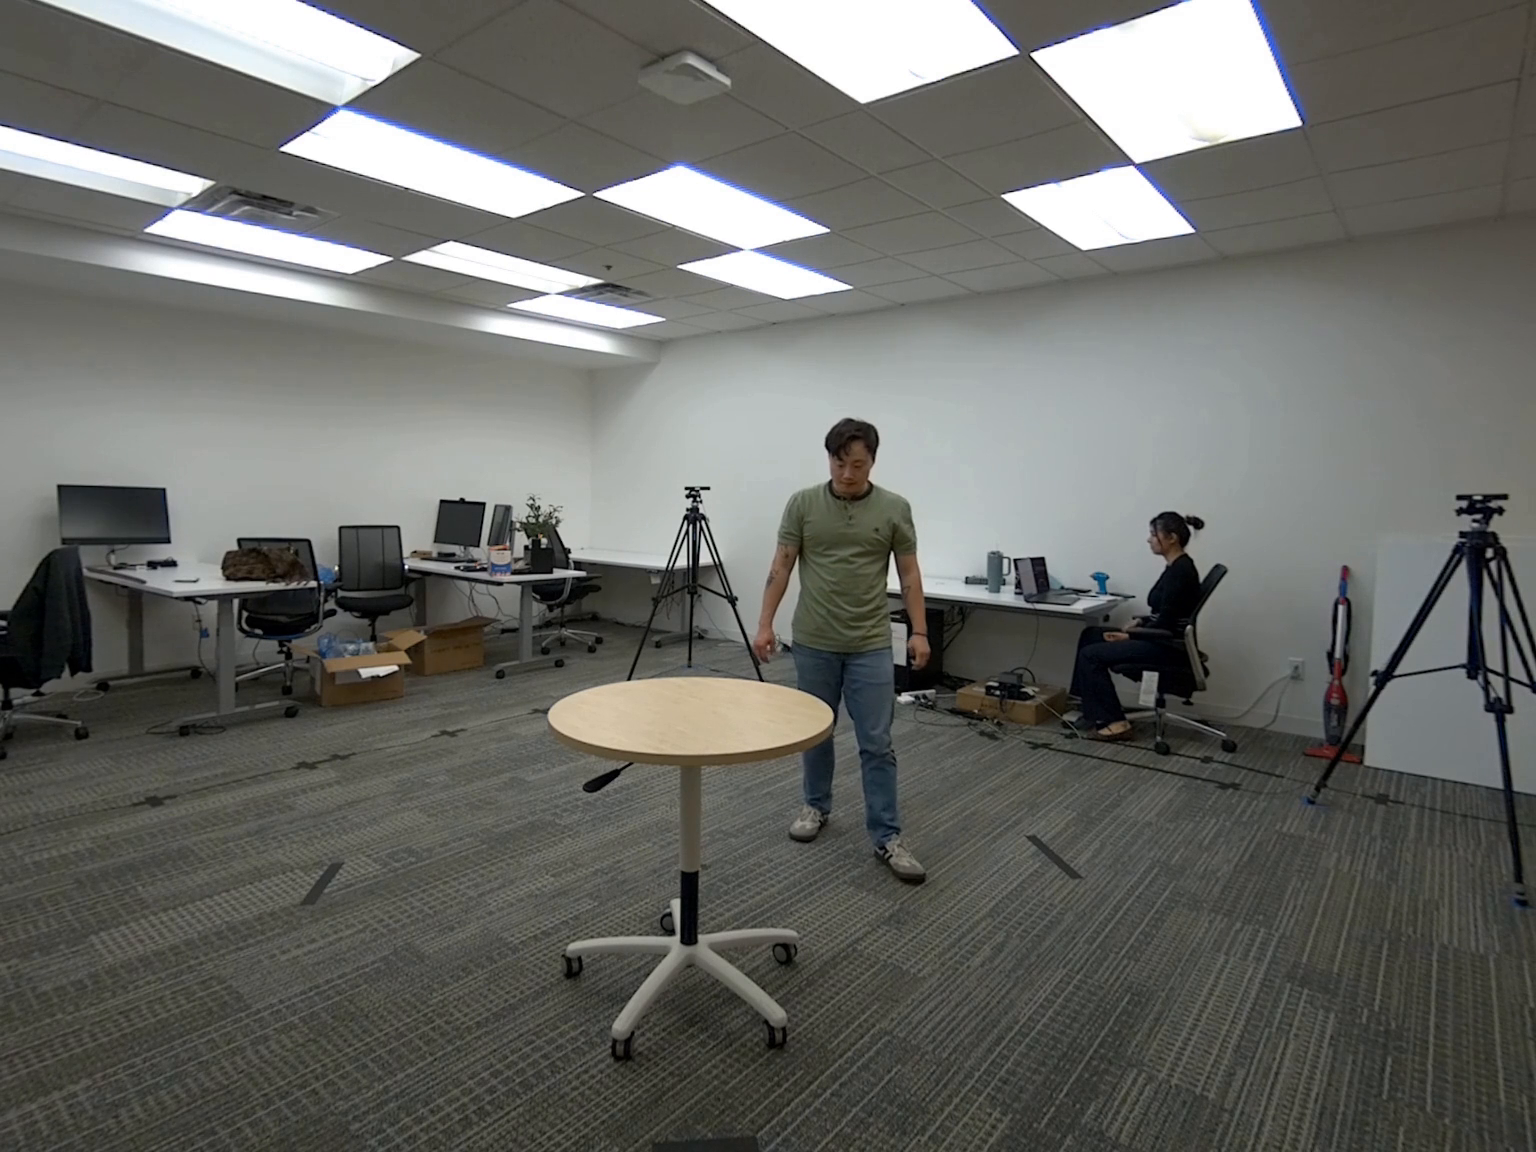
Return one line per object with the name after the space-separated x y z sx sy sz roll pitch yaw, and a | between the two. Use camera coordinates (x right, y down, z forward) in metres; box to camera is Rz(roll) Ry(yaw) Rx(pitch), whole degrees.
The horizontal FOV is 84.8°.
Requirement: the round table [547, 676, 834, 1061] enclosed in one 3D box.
-0.219 0.752 2.332 0.763 0.791 0.768 0 5 -2 | round table
